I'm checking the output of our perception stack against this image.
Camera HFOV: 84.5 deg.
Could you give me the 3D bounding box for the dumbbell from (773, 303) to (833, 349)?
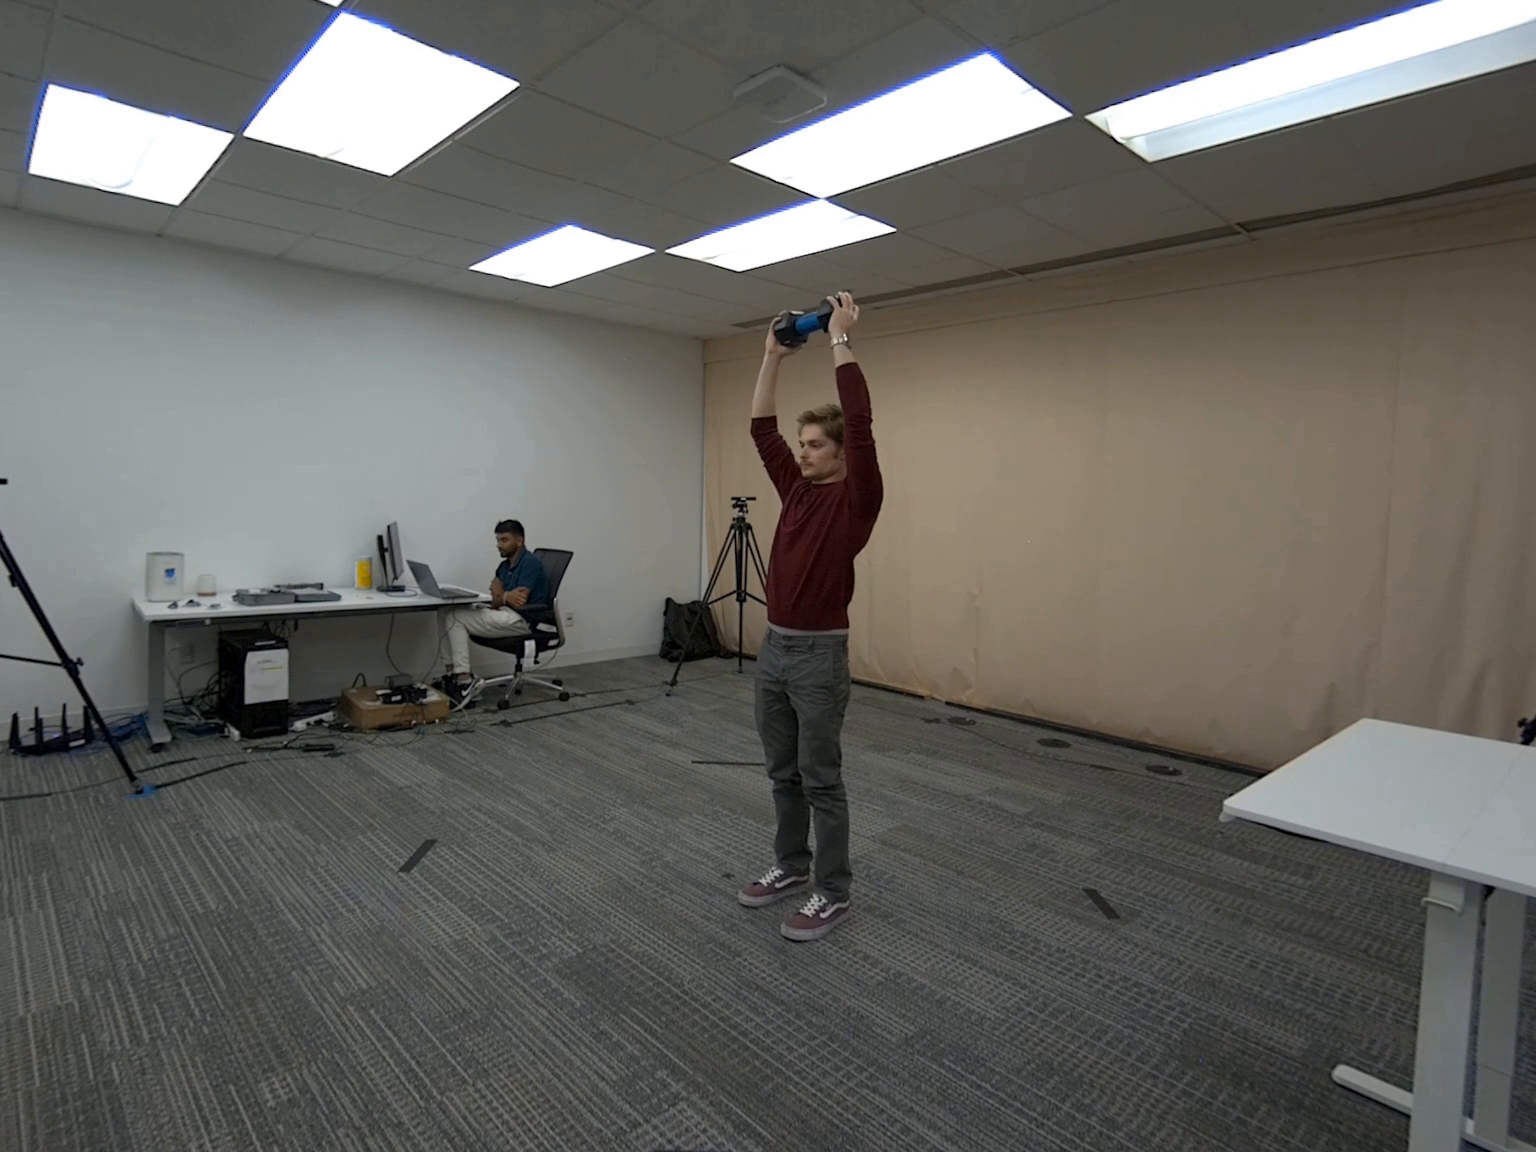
[{"bbox_3d":[0.141,-0.843,2.804,0.105,0.124,0.300,29,-18,-35],"label":"dumbbell"}]
